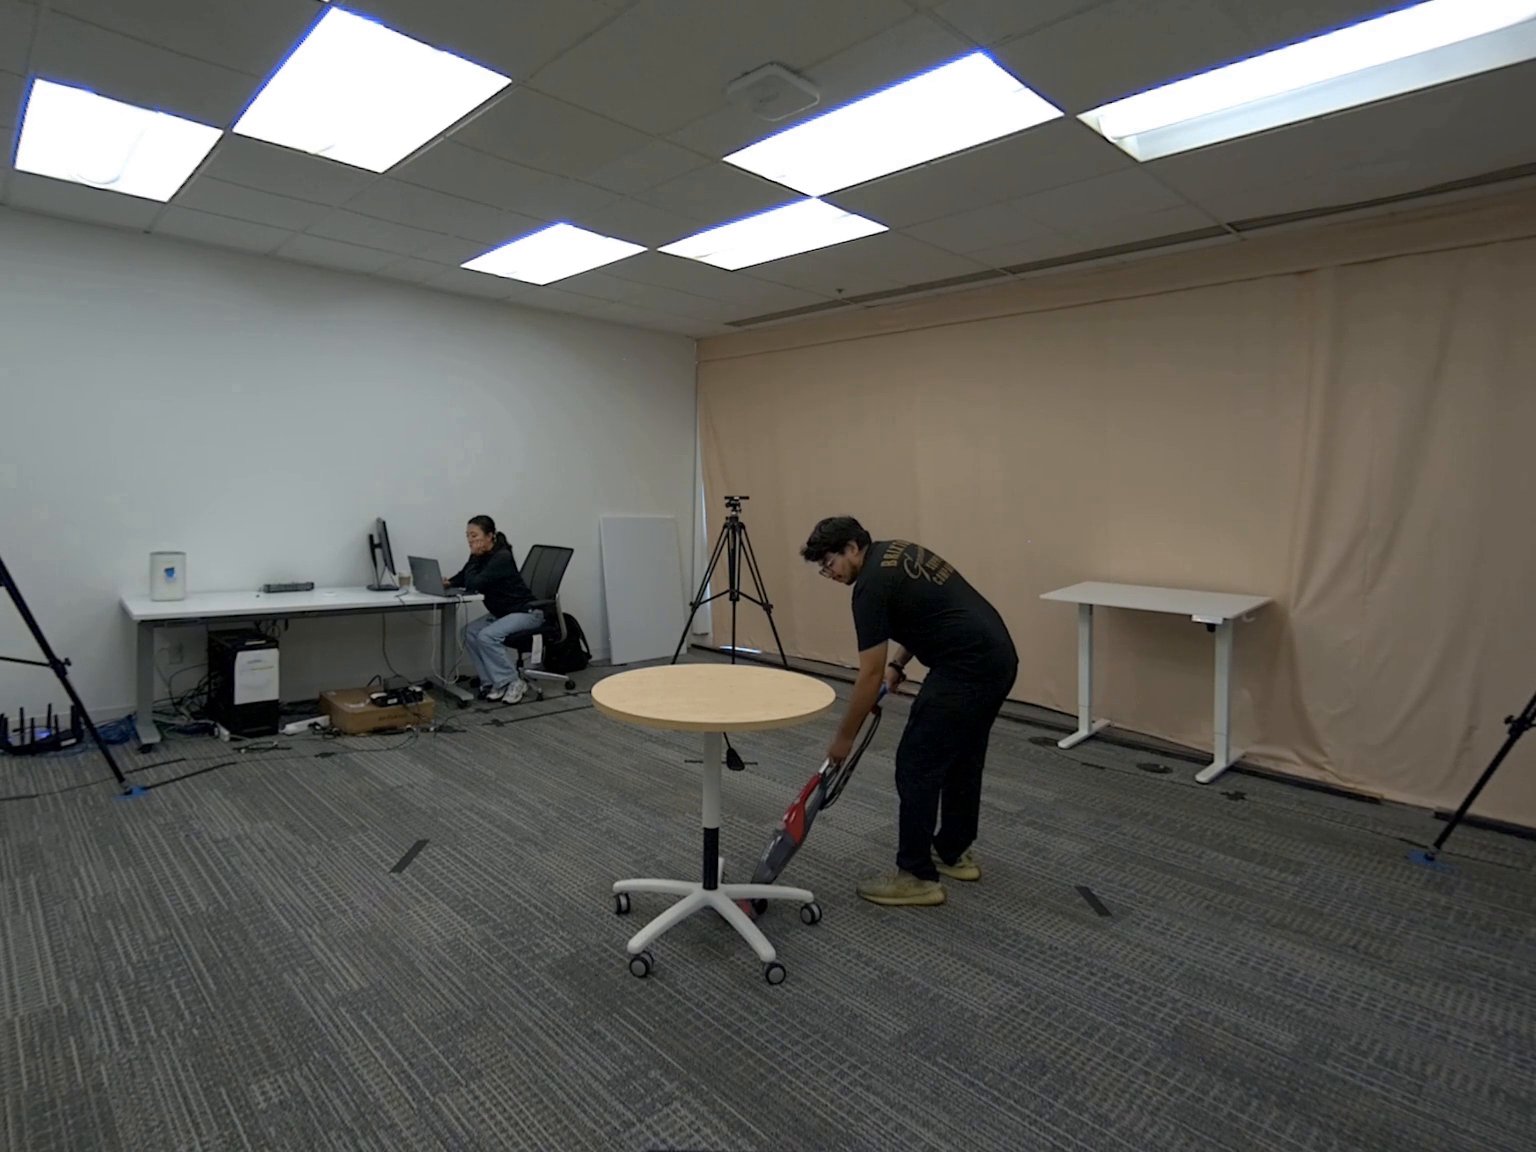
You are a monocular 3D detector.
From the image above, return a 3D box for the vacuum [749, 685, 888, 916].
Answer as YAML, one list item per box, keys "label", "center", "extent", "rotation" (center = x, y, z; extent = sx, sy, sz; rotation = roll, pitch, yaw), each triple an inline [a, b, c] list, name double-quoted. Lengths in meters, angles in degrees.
- label: "vacuum"
  center: [0.219, 0.738, 3.041]
  extent: [1.049, 0.141, 0.258]
  rotation: [-47, 26, -26]
